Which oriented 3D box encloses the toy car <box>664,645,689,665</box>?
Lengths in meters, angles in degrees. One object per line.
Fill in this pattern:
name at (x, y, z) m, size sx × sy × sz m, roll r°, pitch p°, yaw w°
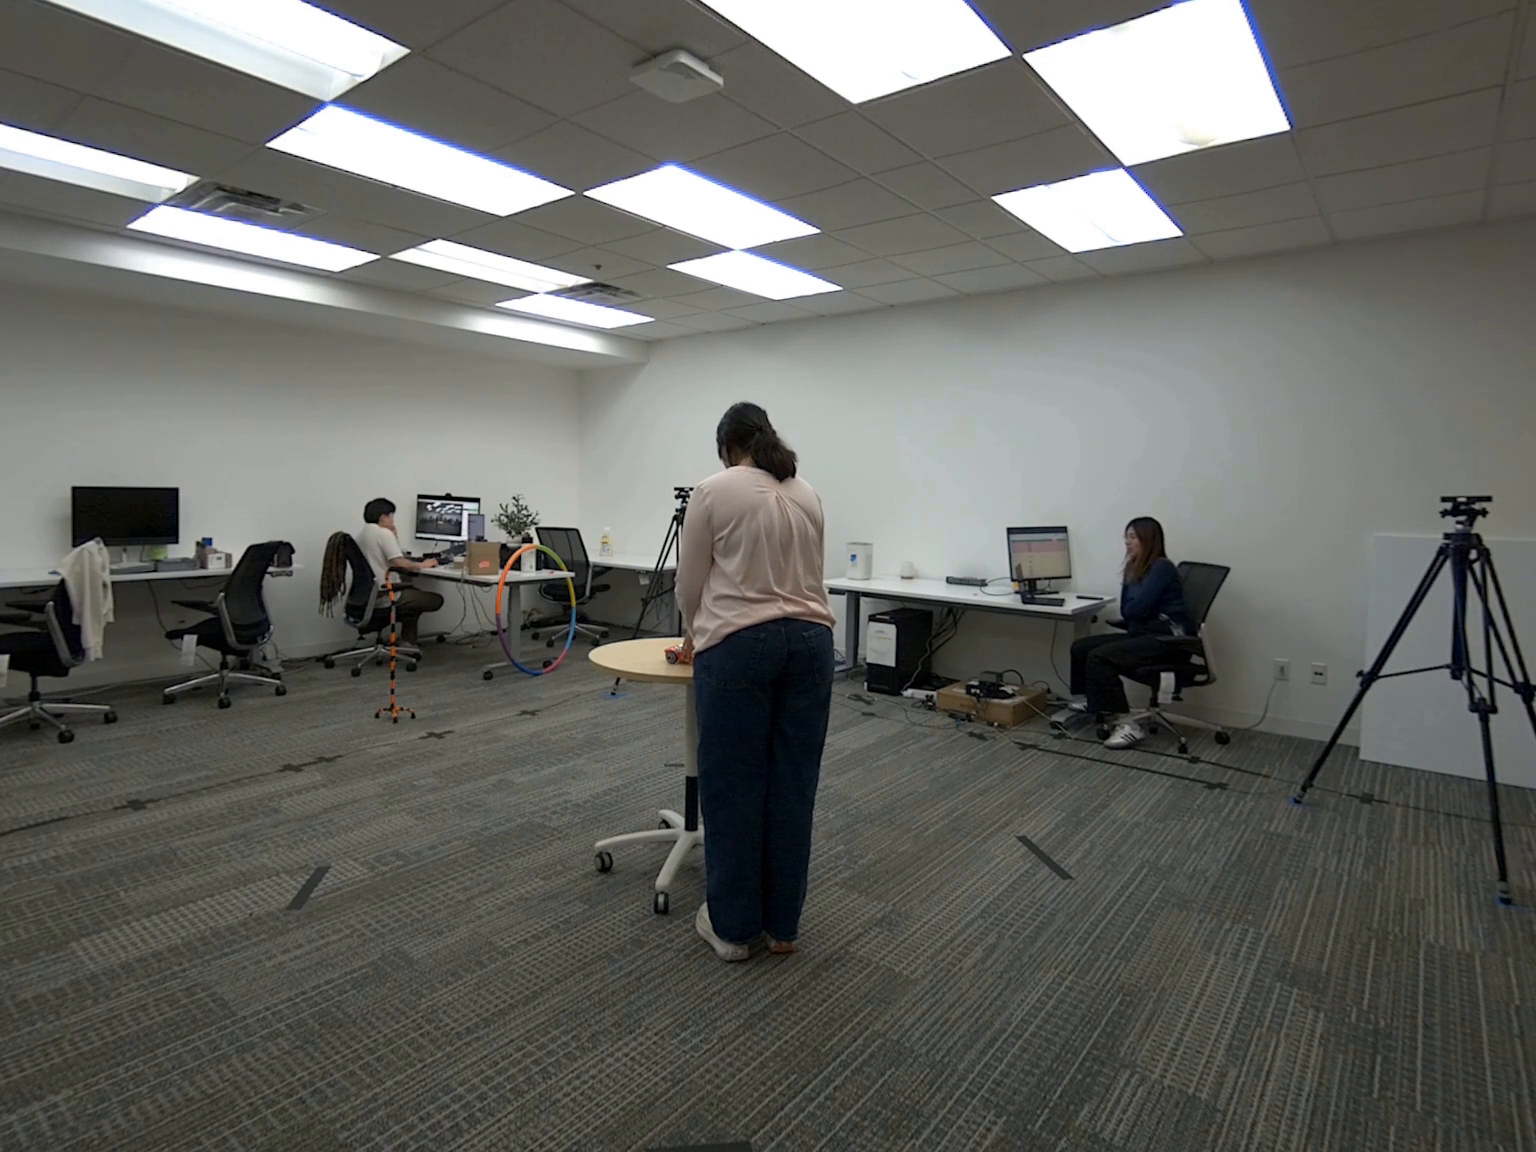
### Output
toy car at (-0.233, 0.269, 2.917) m, size 0.260 × 0.083 × 0.127 m, roll -7°, pitch 0°, yaw 25°
